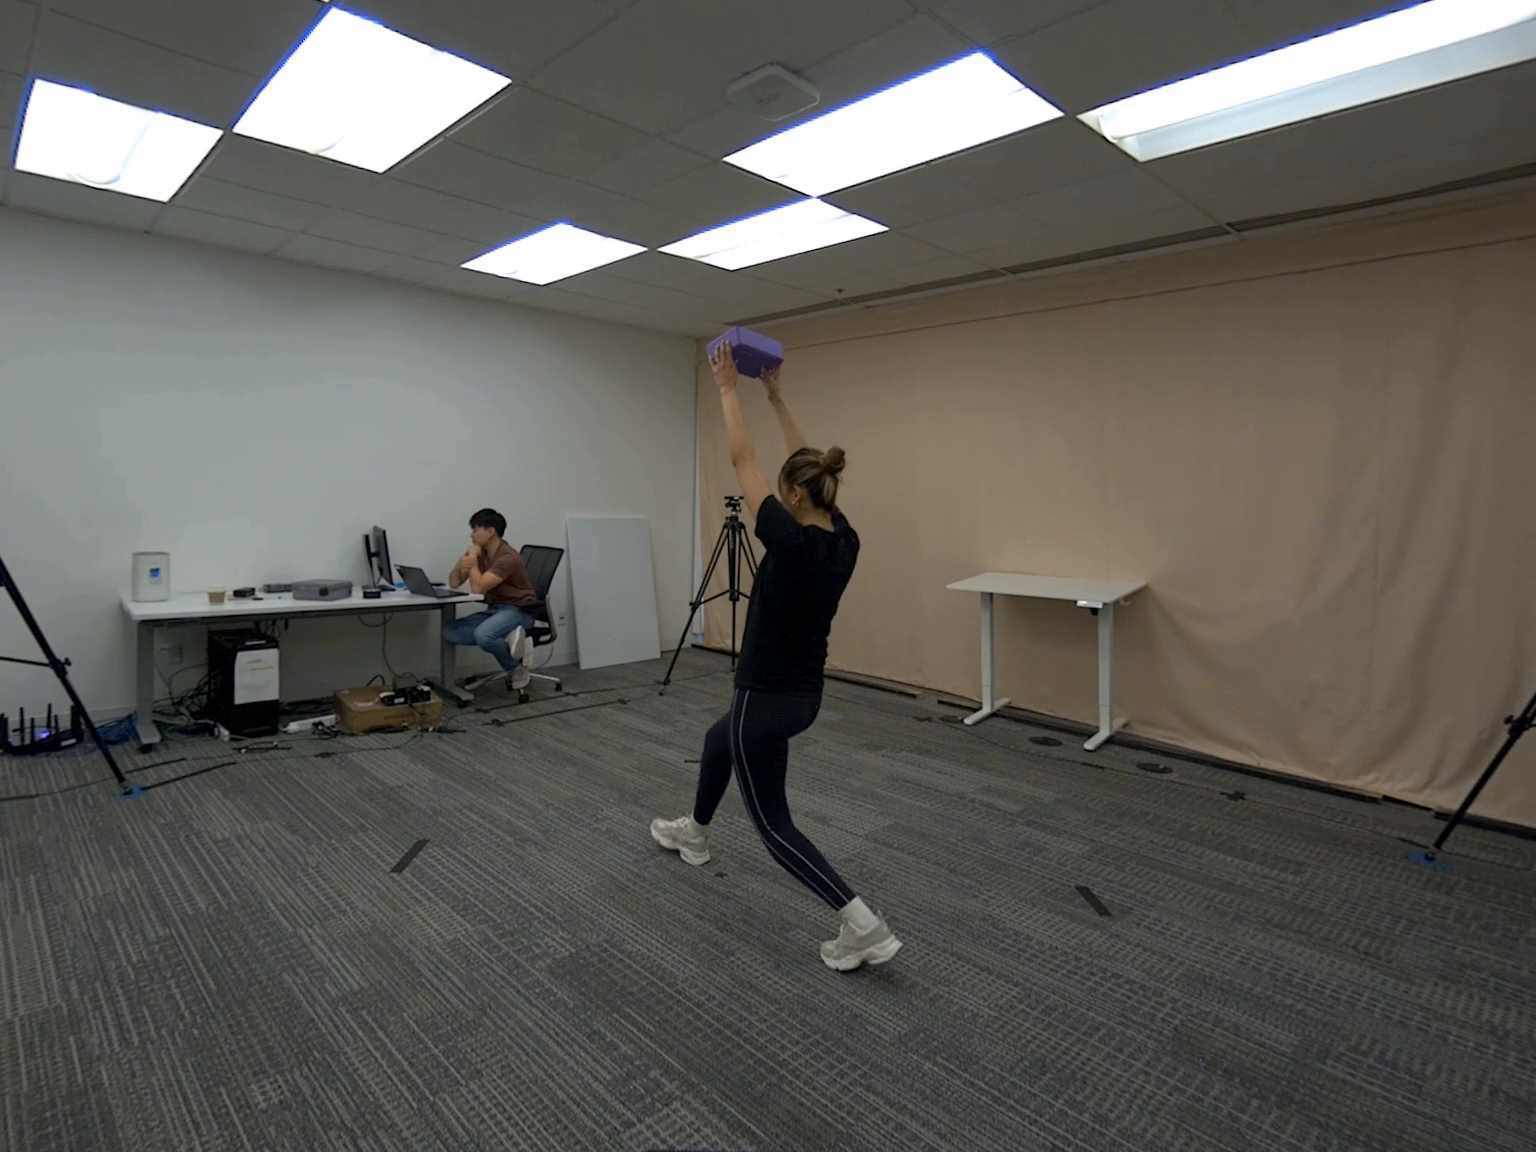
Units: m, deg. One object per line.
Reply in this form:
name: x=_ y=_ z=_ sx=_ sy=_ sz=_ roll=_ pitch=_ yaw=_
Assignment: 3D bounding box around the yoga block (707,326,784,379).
yoga block: x=-0.079 y=-0.748 z=2.820 sx=0.151 sy=0.077 sz=0.223 roll=-22 pitch=-17 yaw=37
